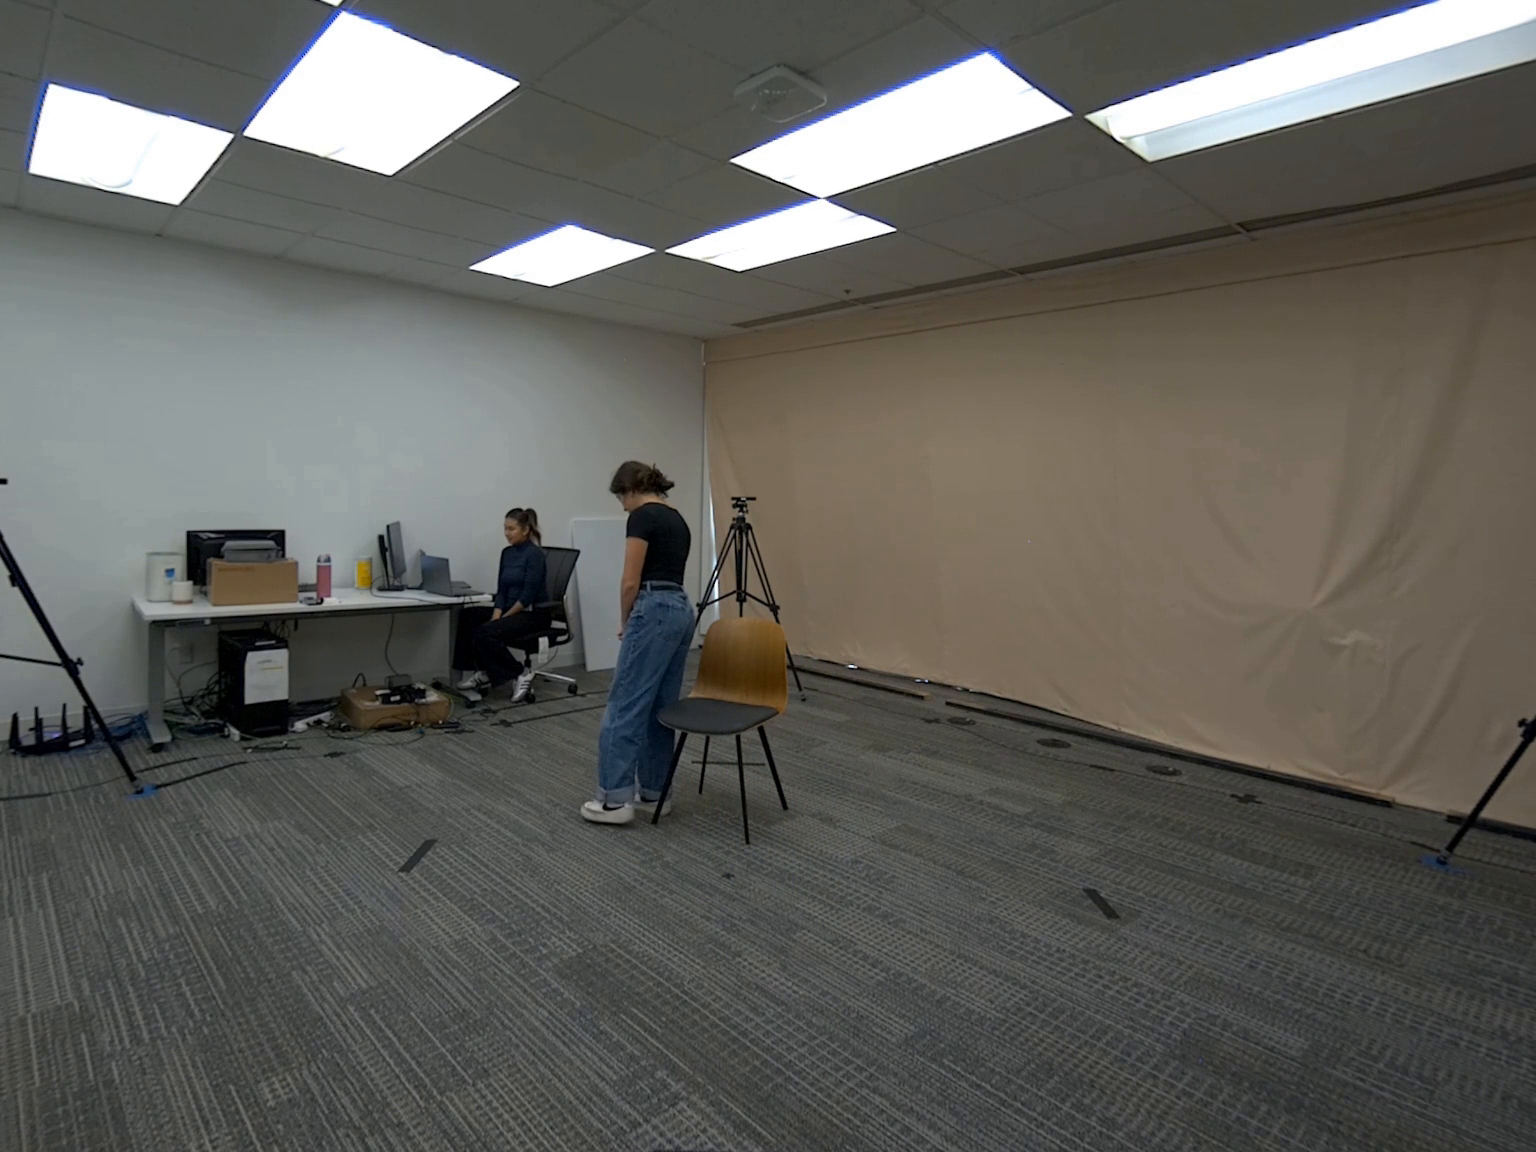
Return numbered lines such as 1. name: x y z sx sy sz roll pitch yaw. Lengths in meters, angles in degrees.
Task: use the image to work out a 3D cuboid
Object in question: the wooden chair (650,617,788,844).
1. wooden chair: -0.195 0.629 3.647 0.487 0.878 0.513 3 -1 23
